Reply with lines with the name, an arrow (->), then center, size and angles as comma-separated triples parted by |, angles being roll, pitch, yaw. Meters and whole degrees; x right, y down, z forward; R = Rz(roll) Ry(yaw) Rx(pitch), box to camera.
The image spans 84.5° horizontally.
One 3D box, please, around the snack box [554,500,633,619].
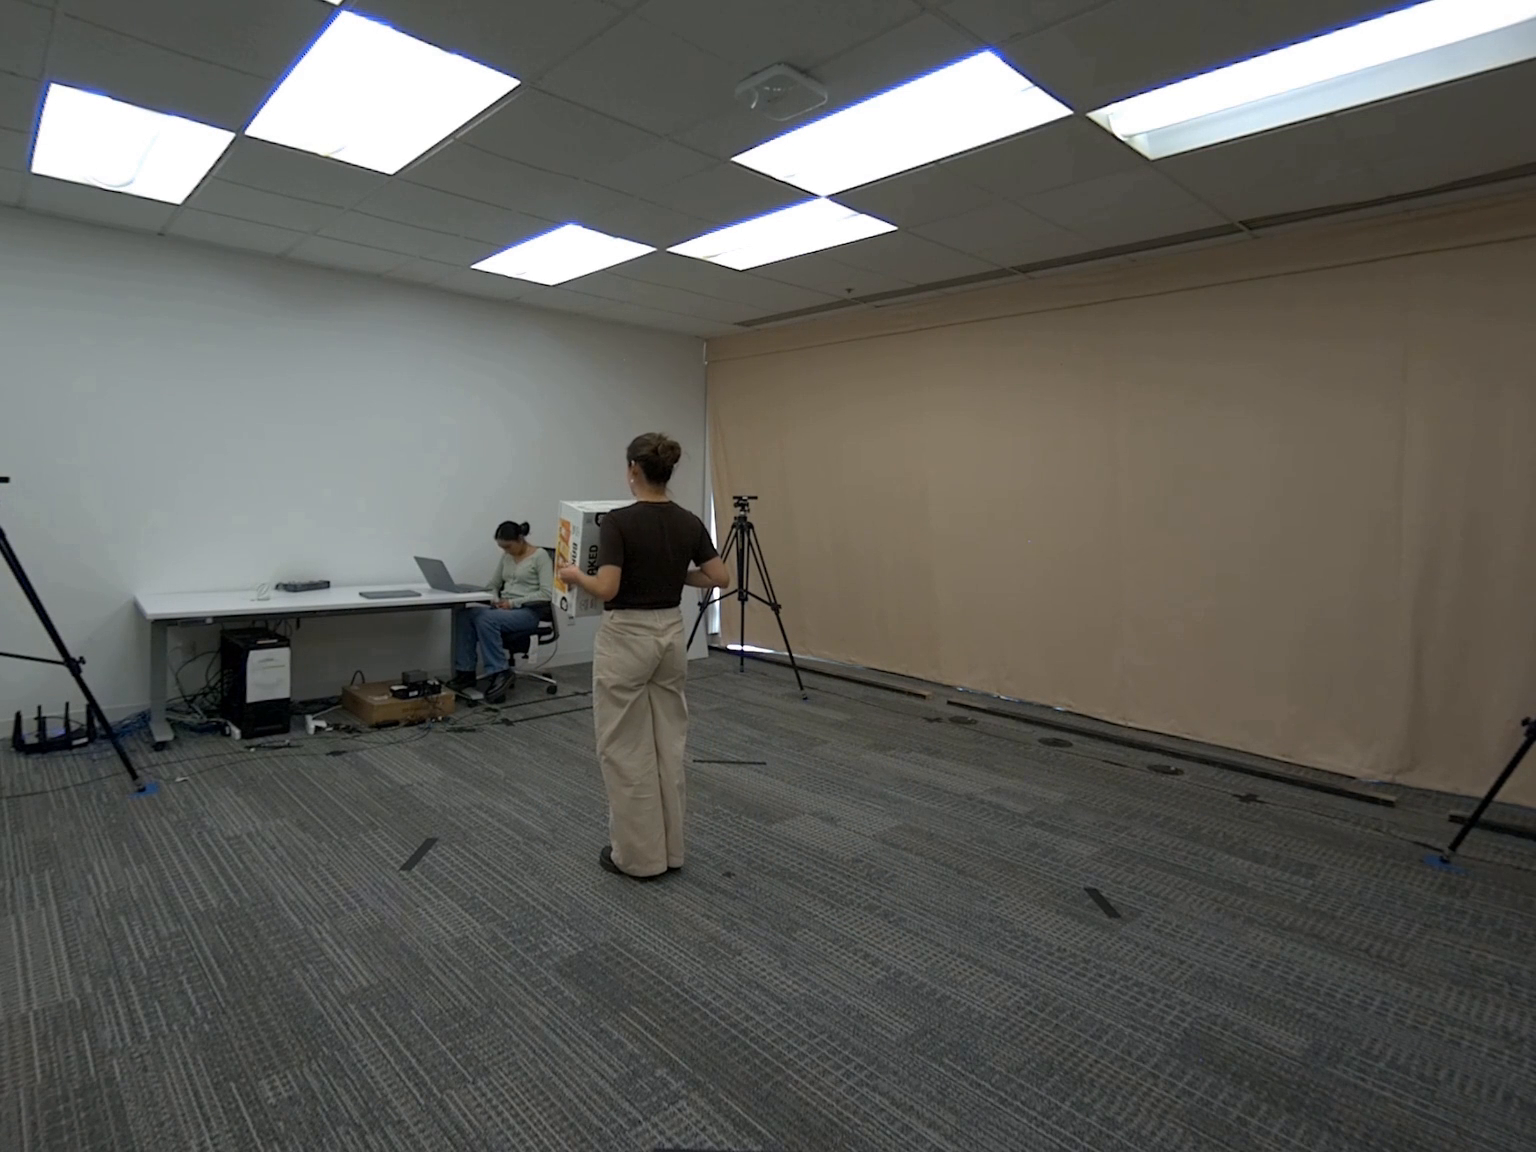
snack box -> -0.623, -0.075, 3.247 | 0.333, 0.402, 0.212 | -3, 16, -39
